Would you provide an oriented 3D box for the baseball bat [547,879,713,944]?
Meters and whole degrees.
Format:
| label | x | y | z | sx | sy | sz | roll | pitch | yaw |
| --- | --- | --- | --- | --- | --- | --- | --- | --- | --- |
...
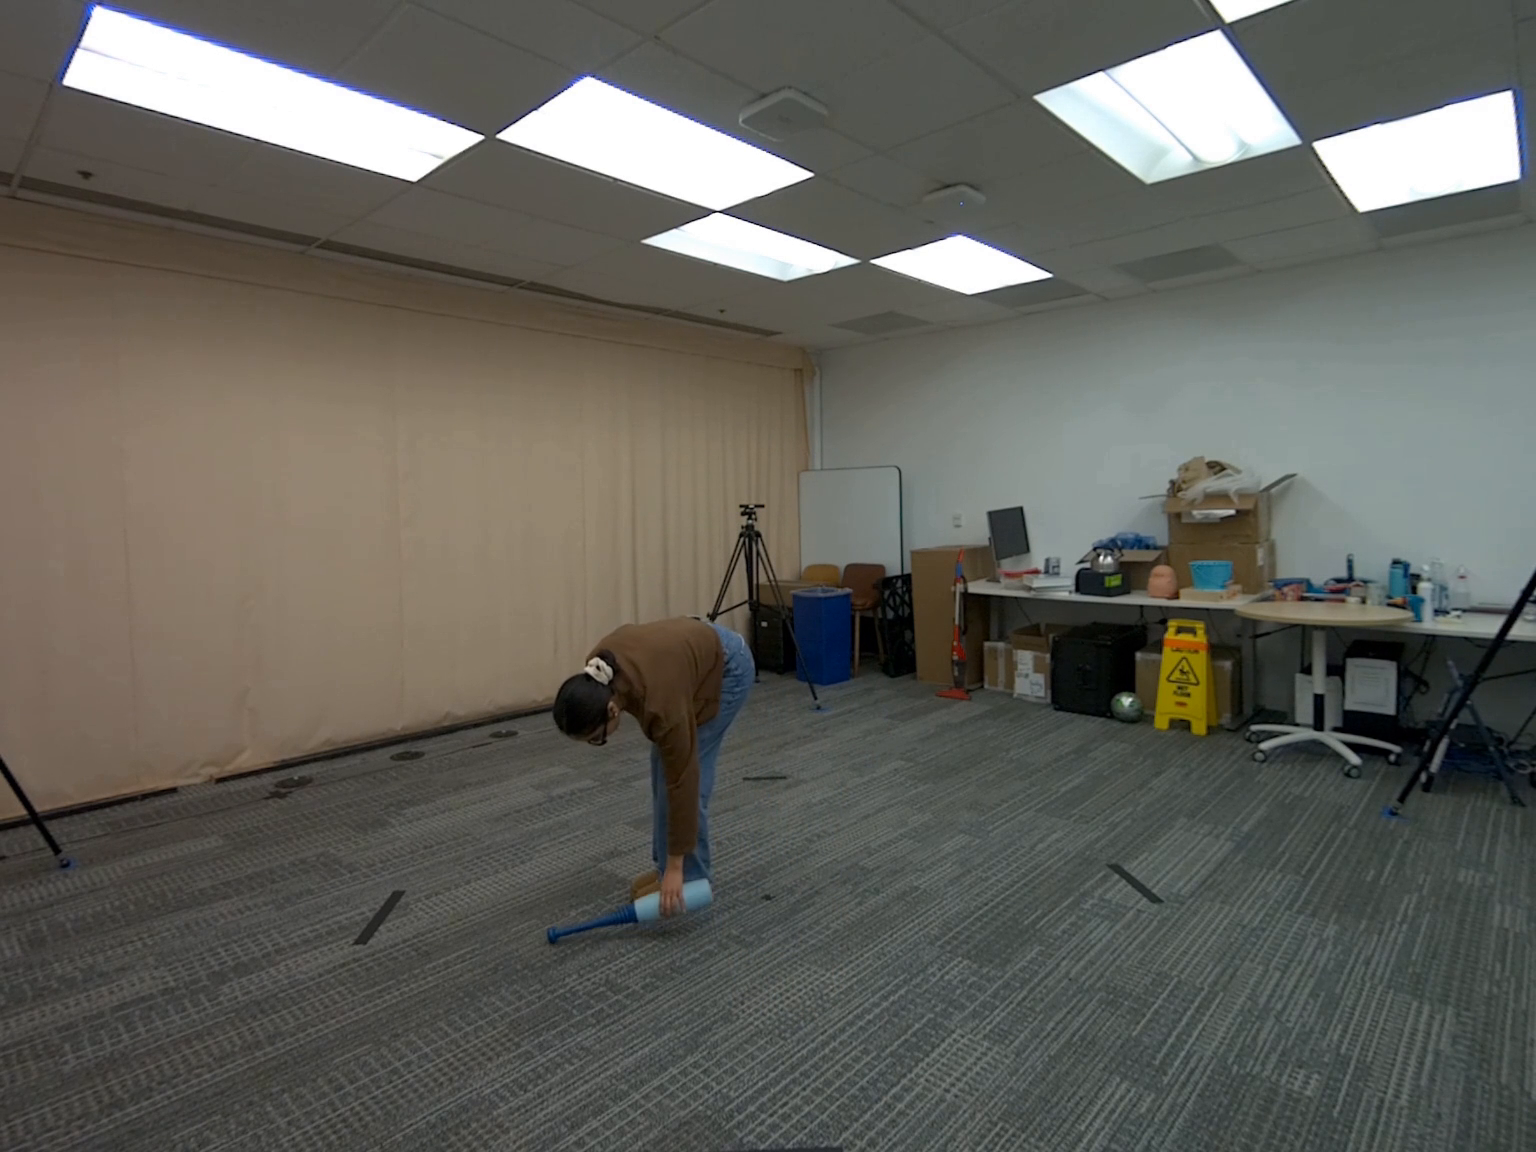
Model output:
| label | x | y | z | sx | sy | sz | roll | pitch | yaw |
| --- | --- | --- | --- | --- | --- | --- | --- | --- | --- |
| baseball bat | -0.452 | 1.091 | 2.715 | 0.542 | 0.089 | 0.089 | -11 | 5 | -2 |
